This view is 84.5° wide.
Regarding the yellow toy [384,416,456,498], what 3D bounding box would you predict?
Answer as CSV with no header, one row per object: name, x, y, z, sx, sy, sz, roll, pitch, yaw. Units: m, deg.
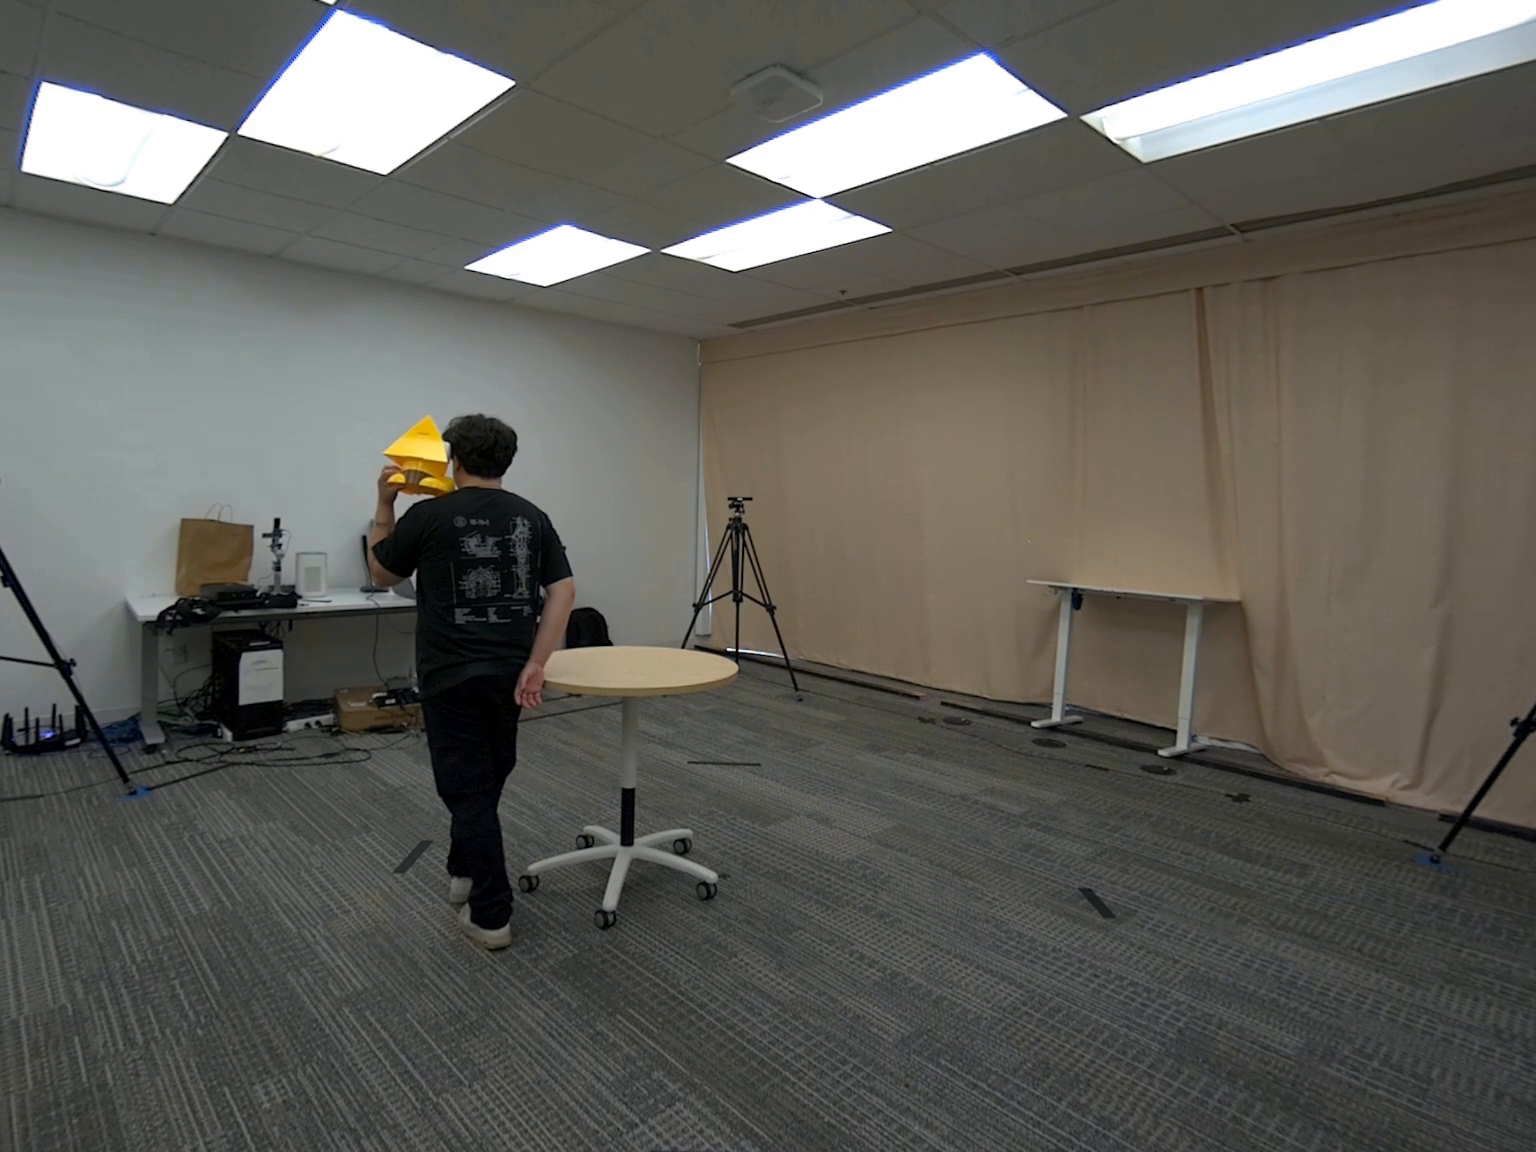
yellow toy,-1.094,-0.385,2.688,0.205,0.232,0.192,7,-11,-1
